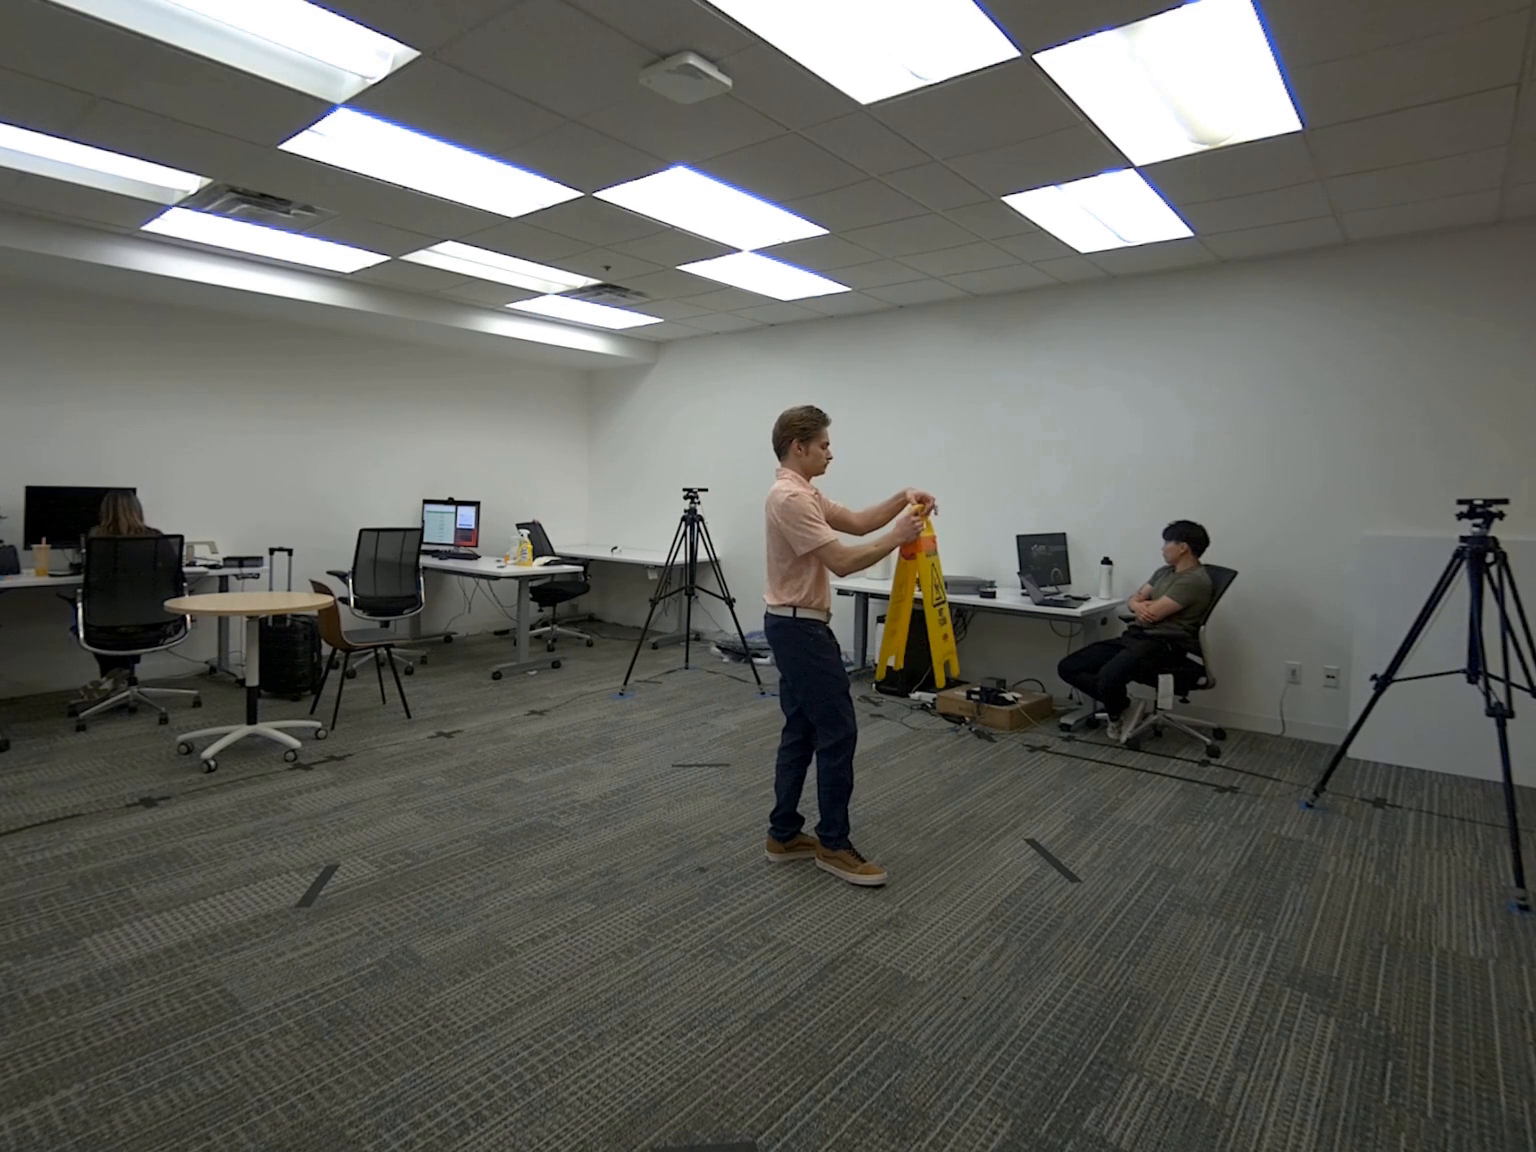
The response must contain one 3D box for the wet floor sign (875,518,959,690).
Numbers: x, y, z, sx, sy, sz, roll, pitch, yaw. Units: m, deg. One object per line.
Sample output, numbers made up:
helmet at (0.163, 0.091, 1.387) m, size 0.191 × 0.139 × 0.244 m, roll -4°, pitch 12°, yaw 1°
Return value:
wet floor sign at (0.566, 0.063, 3.203) m, size 0.298 × 0.643 × 0.276 m, roll 2°, pitch 5°, yaw 28°
